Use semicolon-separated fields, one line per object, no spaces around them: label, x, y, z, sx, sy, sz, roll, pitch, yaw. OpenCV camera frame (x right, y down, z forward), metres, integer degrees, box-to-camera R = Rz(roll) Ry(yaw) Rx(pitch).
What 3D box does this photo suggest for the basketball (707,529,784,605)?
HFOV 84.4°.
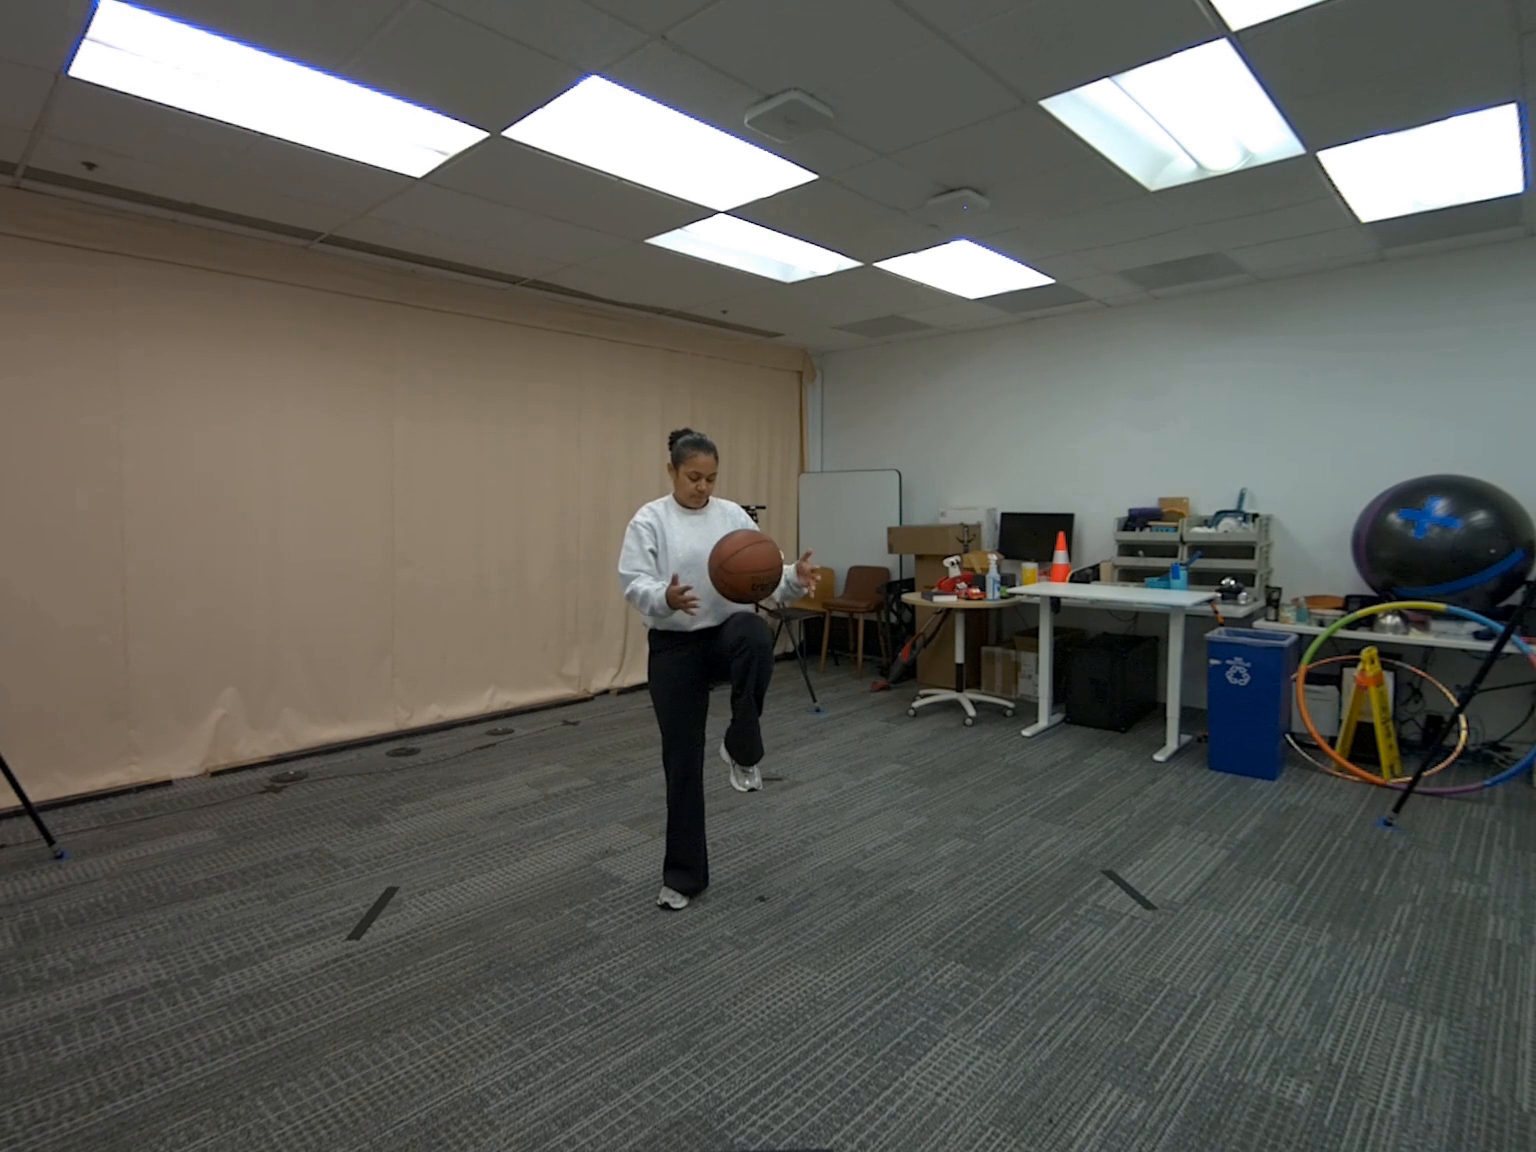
basketball;-0.075;-0.002;2.665;0.236;0.235;0.237;0;4;-2
